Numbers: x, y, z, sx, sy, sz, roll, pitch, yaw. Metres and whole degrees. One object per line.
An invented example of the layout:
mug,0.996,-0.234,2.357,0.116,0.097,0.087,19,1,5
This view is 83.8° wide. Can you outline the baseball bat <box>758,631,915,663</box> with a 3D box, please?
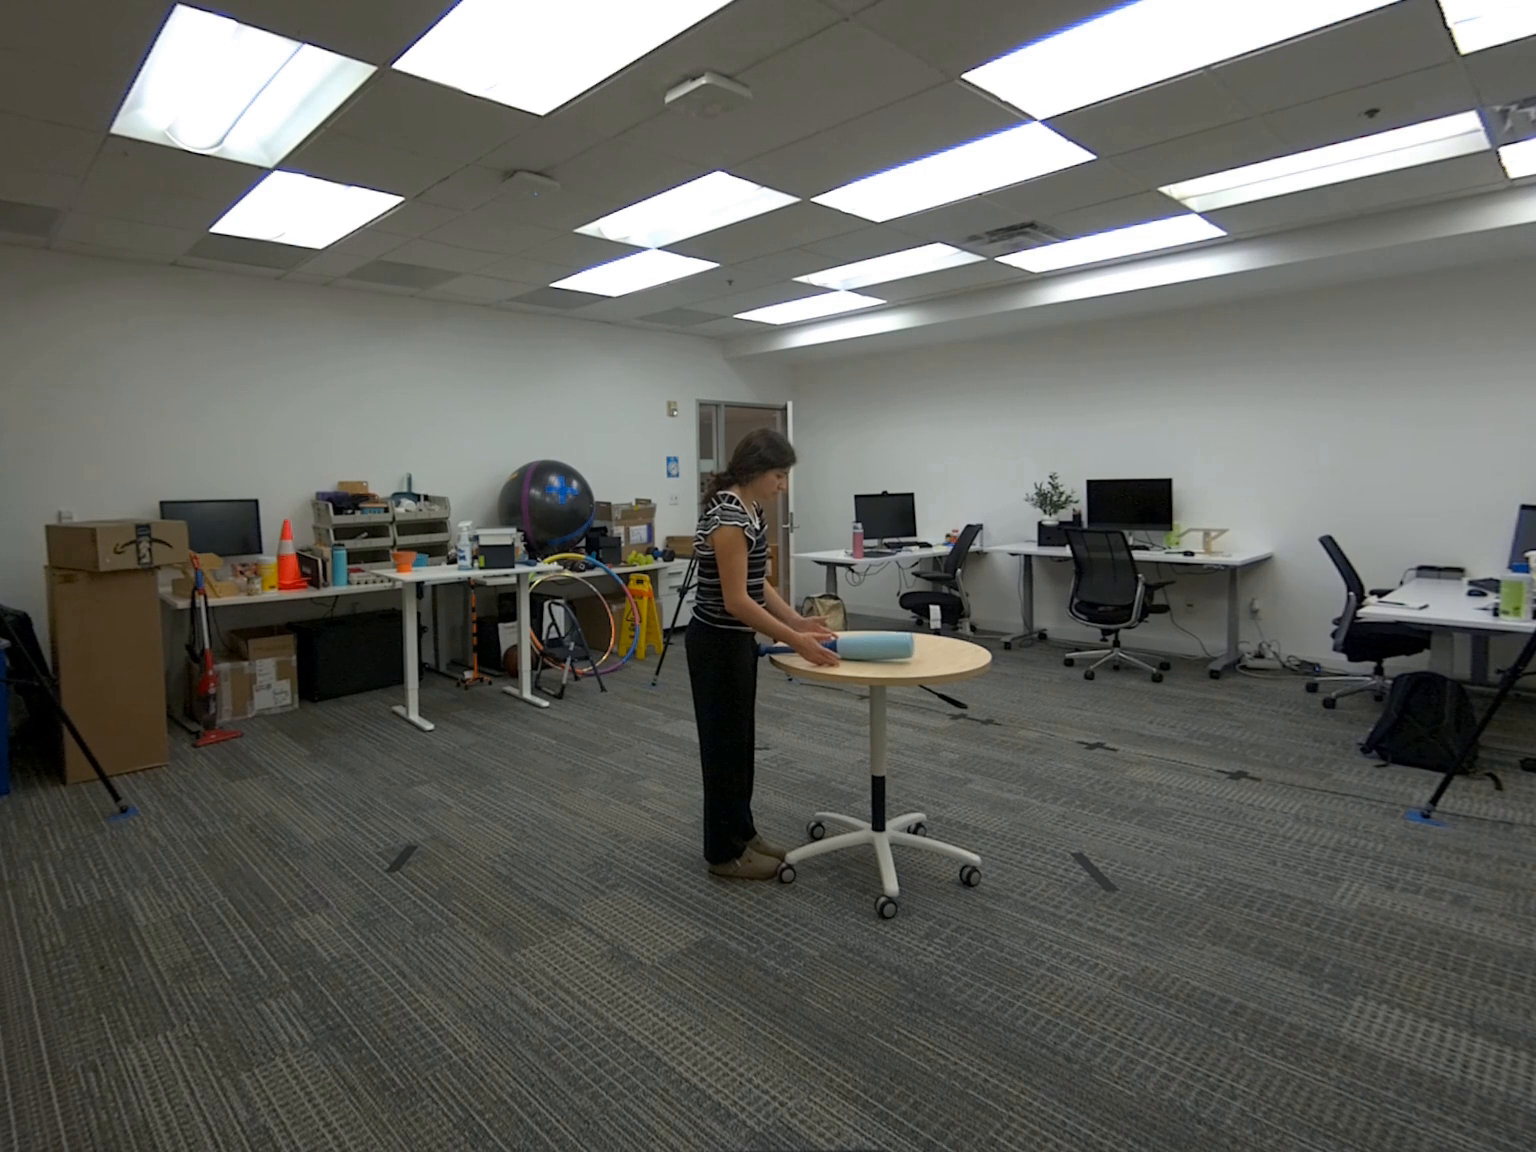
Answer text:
baseball bat,0.216,0.241,2.909,0.552,0.089,0.088,-3,4,19
